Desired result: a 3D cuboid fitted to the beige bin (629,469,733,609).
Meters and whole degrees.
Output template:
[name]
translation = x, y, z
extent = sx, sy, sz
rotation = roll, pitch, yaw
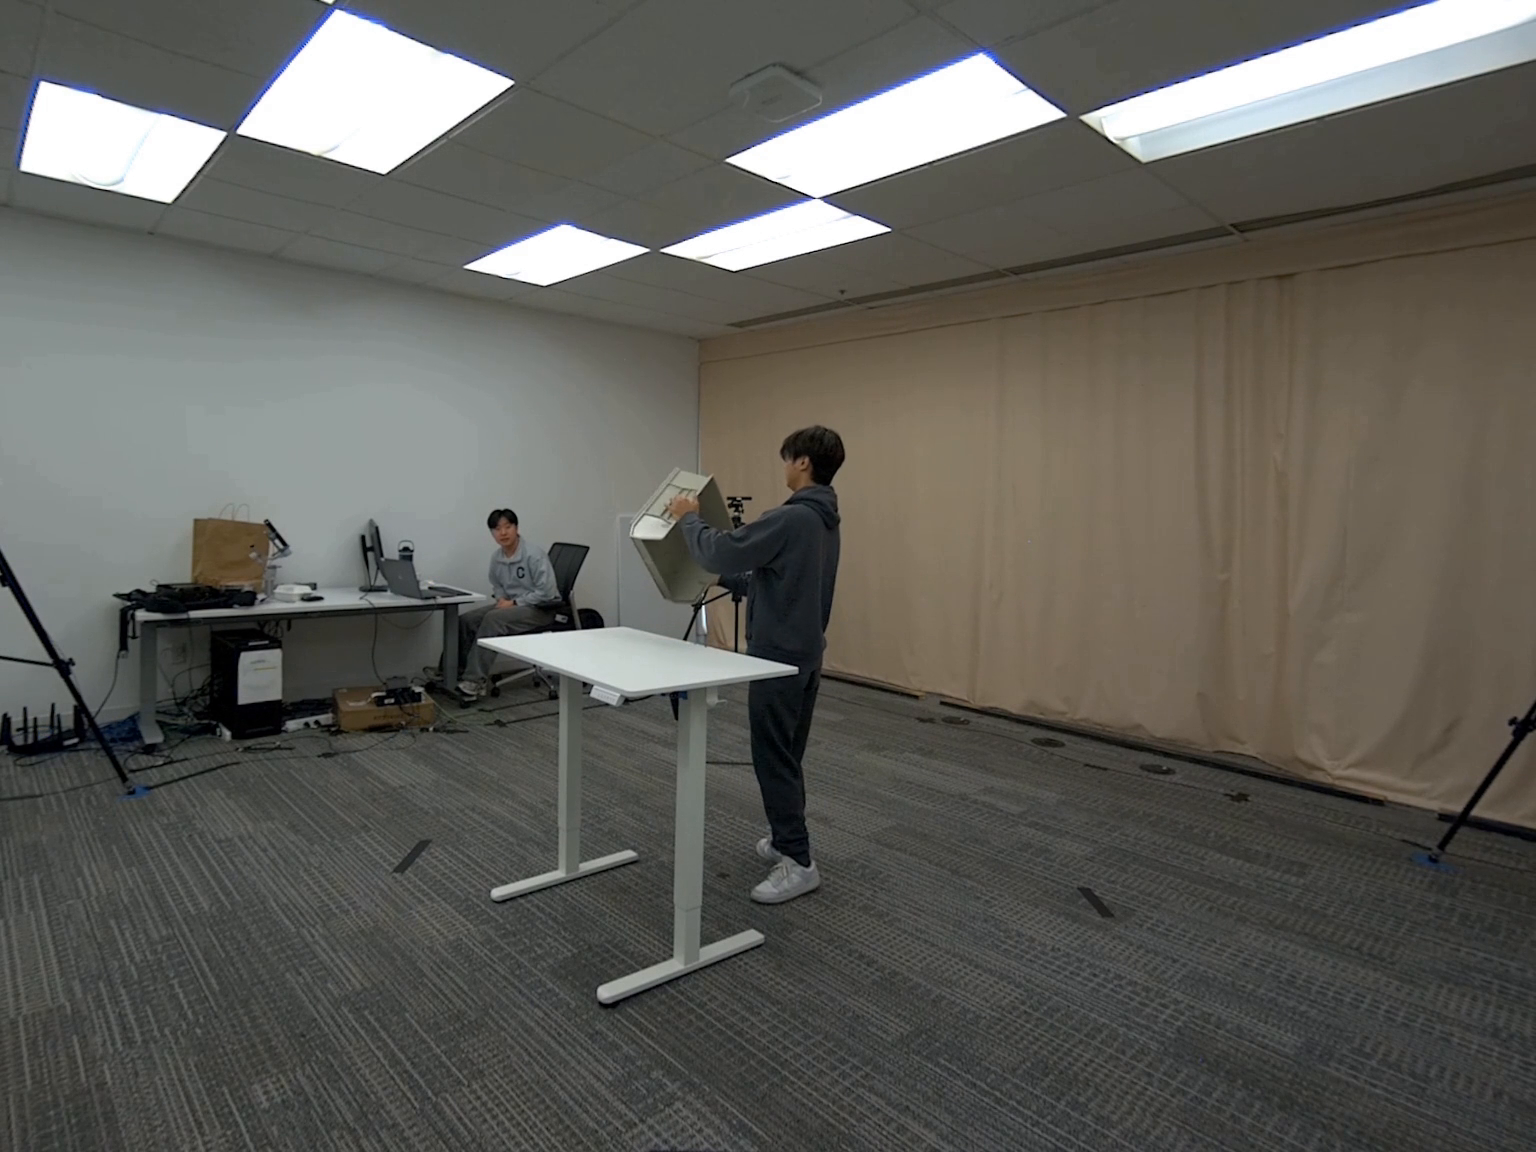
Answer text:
[beige bin]
translation = -0.331, -0.149, 3.347
extent = 0.194, 0.379, 0.410
rotation = 17, -30, 30
